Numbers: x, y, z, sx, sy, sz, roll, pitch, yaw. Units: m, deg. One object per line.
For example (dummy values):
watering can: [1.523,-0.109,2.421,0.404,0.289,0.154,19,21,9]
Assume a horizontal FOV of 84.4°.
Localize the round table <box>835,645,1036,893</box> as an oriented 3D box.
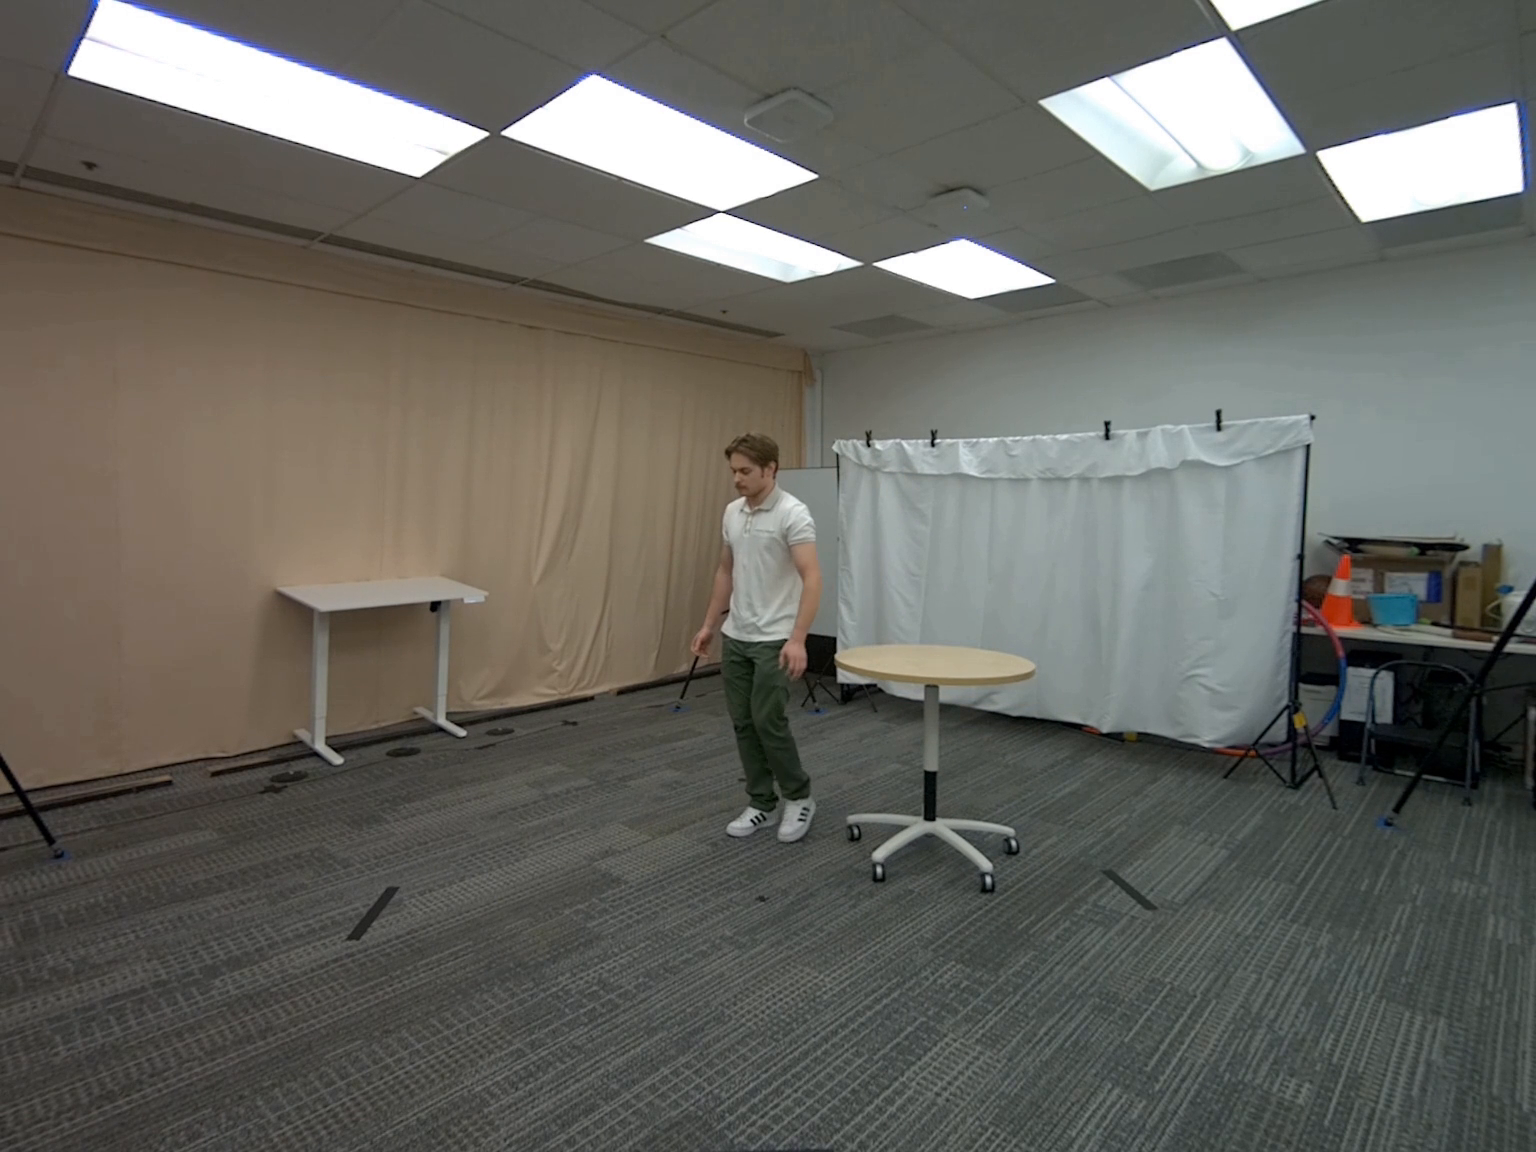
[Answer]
round table: [0.634,0.717,3.349,0.784,0.785,0.788,1,3,-2]
